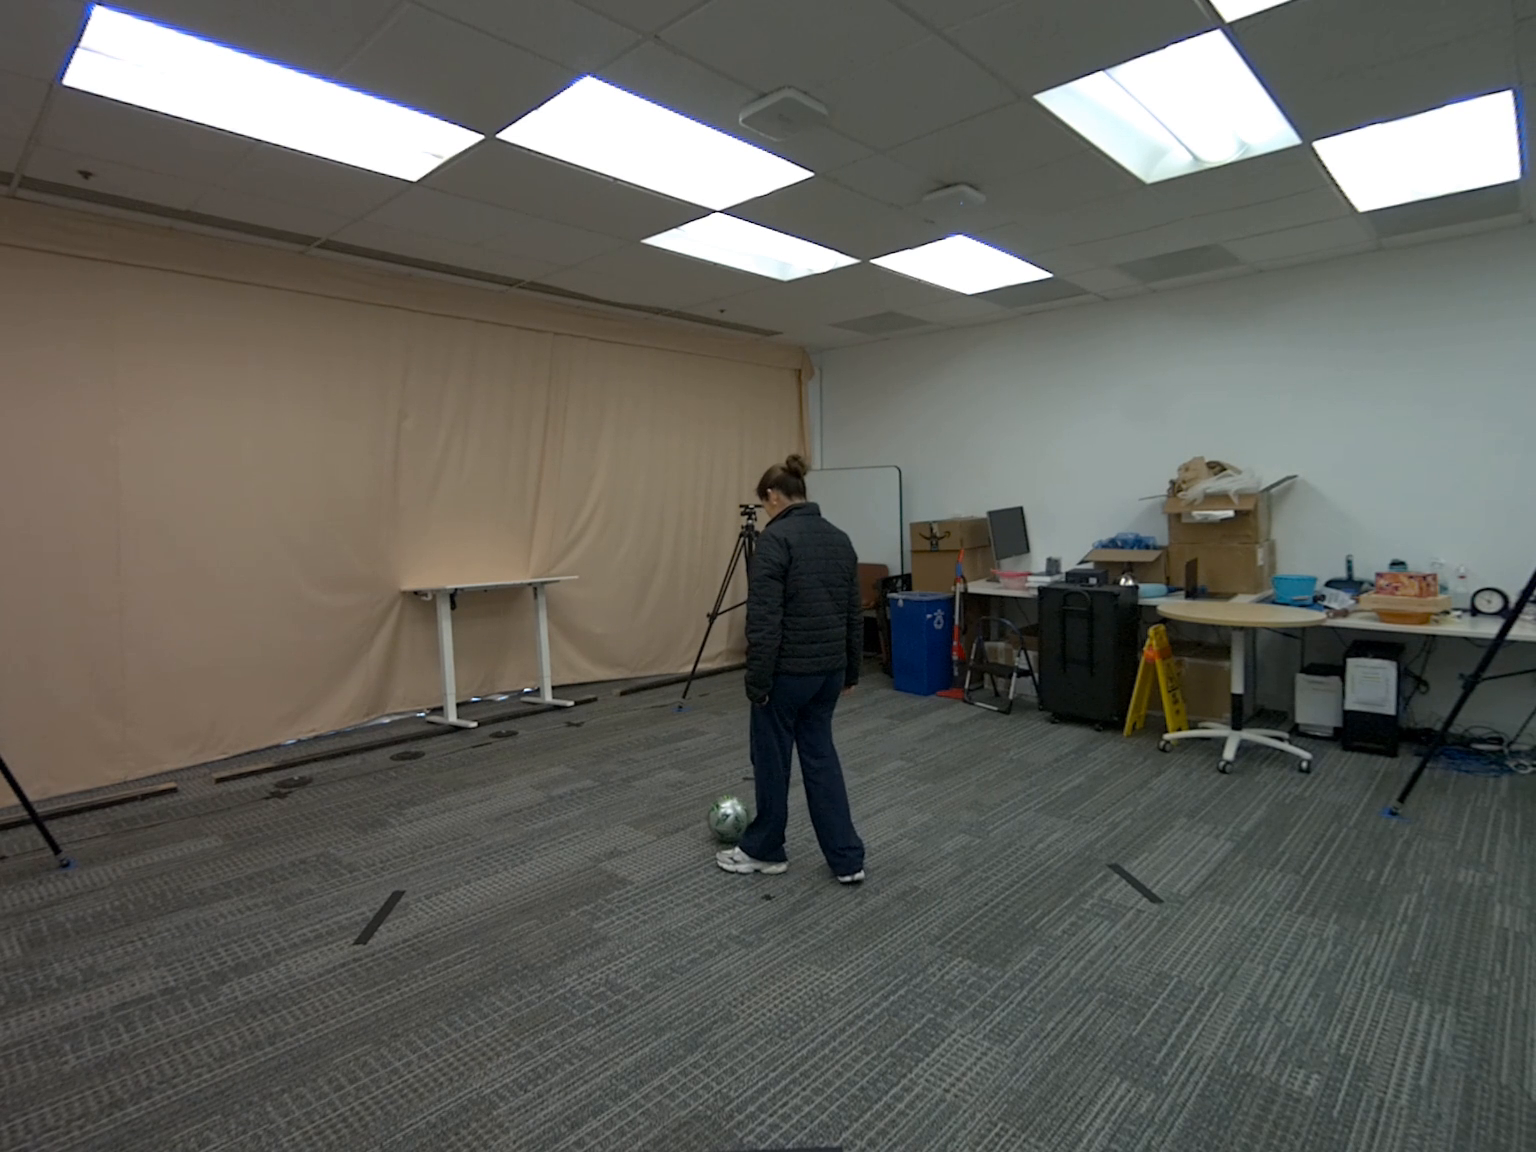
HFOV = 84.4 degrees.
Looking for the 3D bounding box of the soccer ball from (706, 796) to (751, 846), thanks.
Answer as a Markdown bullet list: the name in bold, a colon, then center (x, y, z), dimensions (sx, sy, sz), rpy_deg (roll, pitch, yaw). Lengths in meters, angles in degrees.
- **soccer ball**: center (-0.159, 1.012, 3.491), dimensions (0.187, 0.187, 0.188), rpy_deg (-1, 4, -2)
